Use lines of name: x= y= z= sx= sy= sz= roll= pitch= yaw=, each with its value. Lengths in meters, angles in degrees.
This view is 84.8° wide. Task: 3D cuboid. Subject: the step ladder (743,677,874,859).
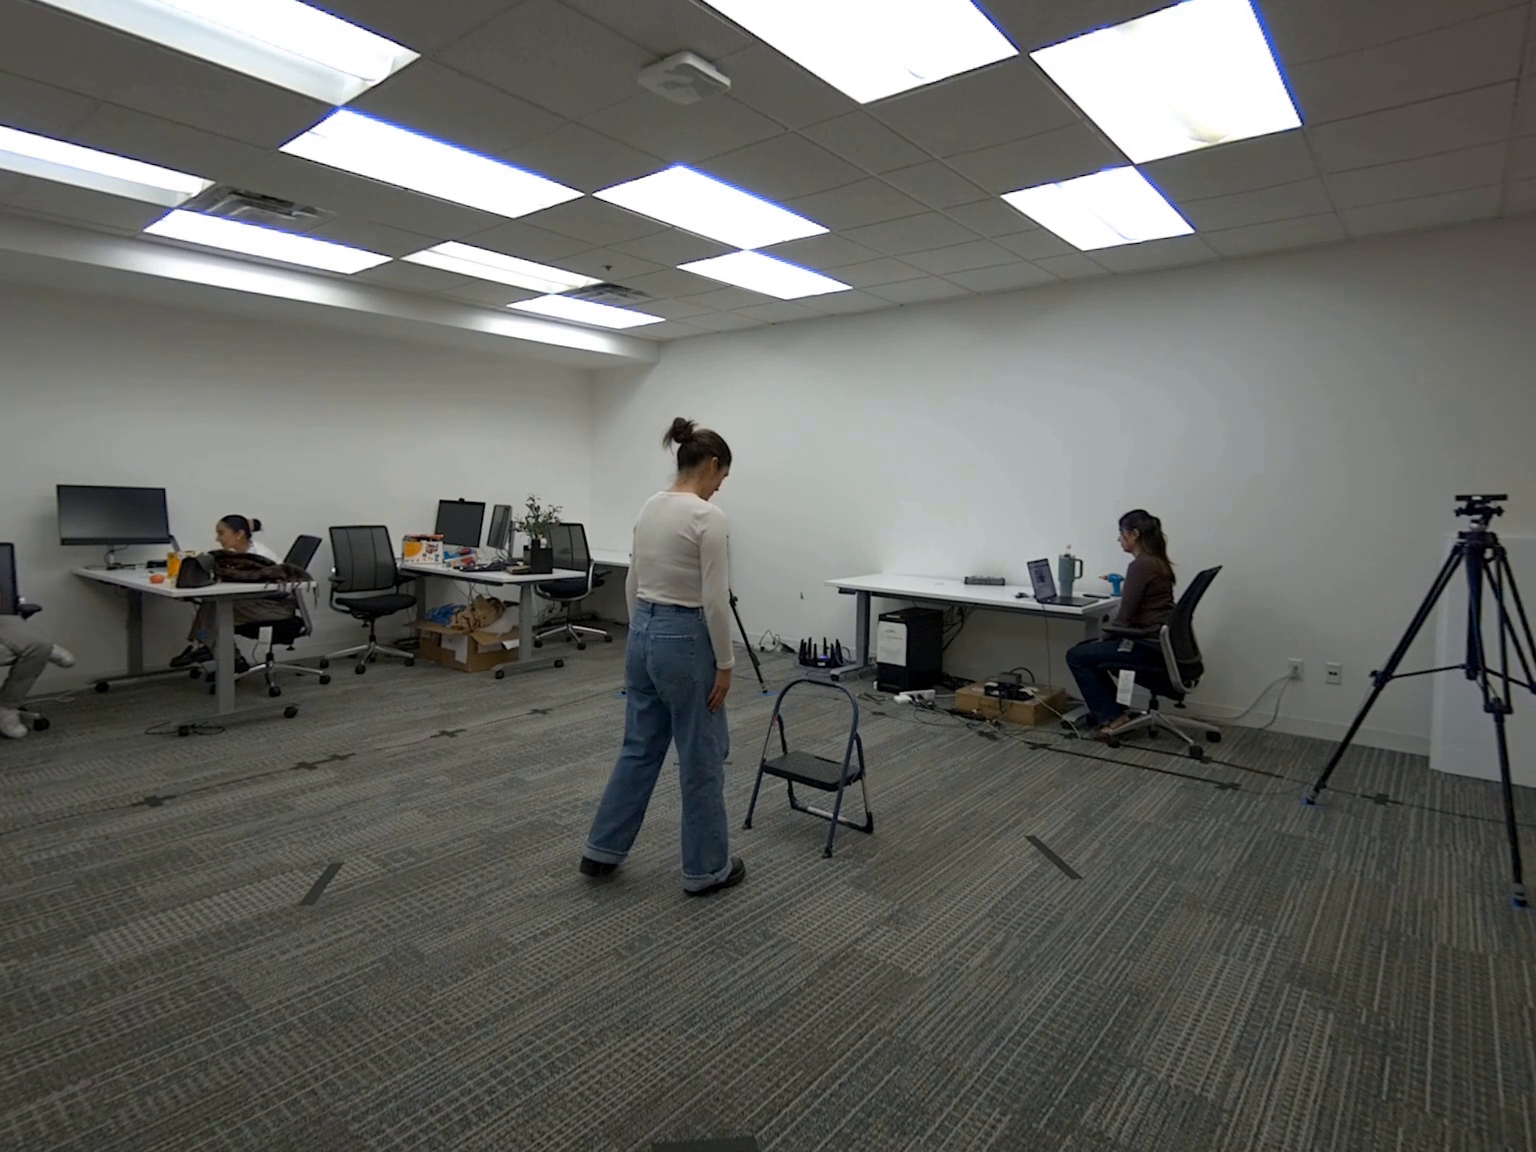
step ladder: x=0.165 y=0.734 z=3.461 sx=0.445 sy=0.604 sz=0.339 roll=4 pitch=4 yaw=39
